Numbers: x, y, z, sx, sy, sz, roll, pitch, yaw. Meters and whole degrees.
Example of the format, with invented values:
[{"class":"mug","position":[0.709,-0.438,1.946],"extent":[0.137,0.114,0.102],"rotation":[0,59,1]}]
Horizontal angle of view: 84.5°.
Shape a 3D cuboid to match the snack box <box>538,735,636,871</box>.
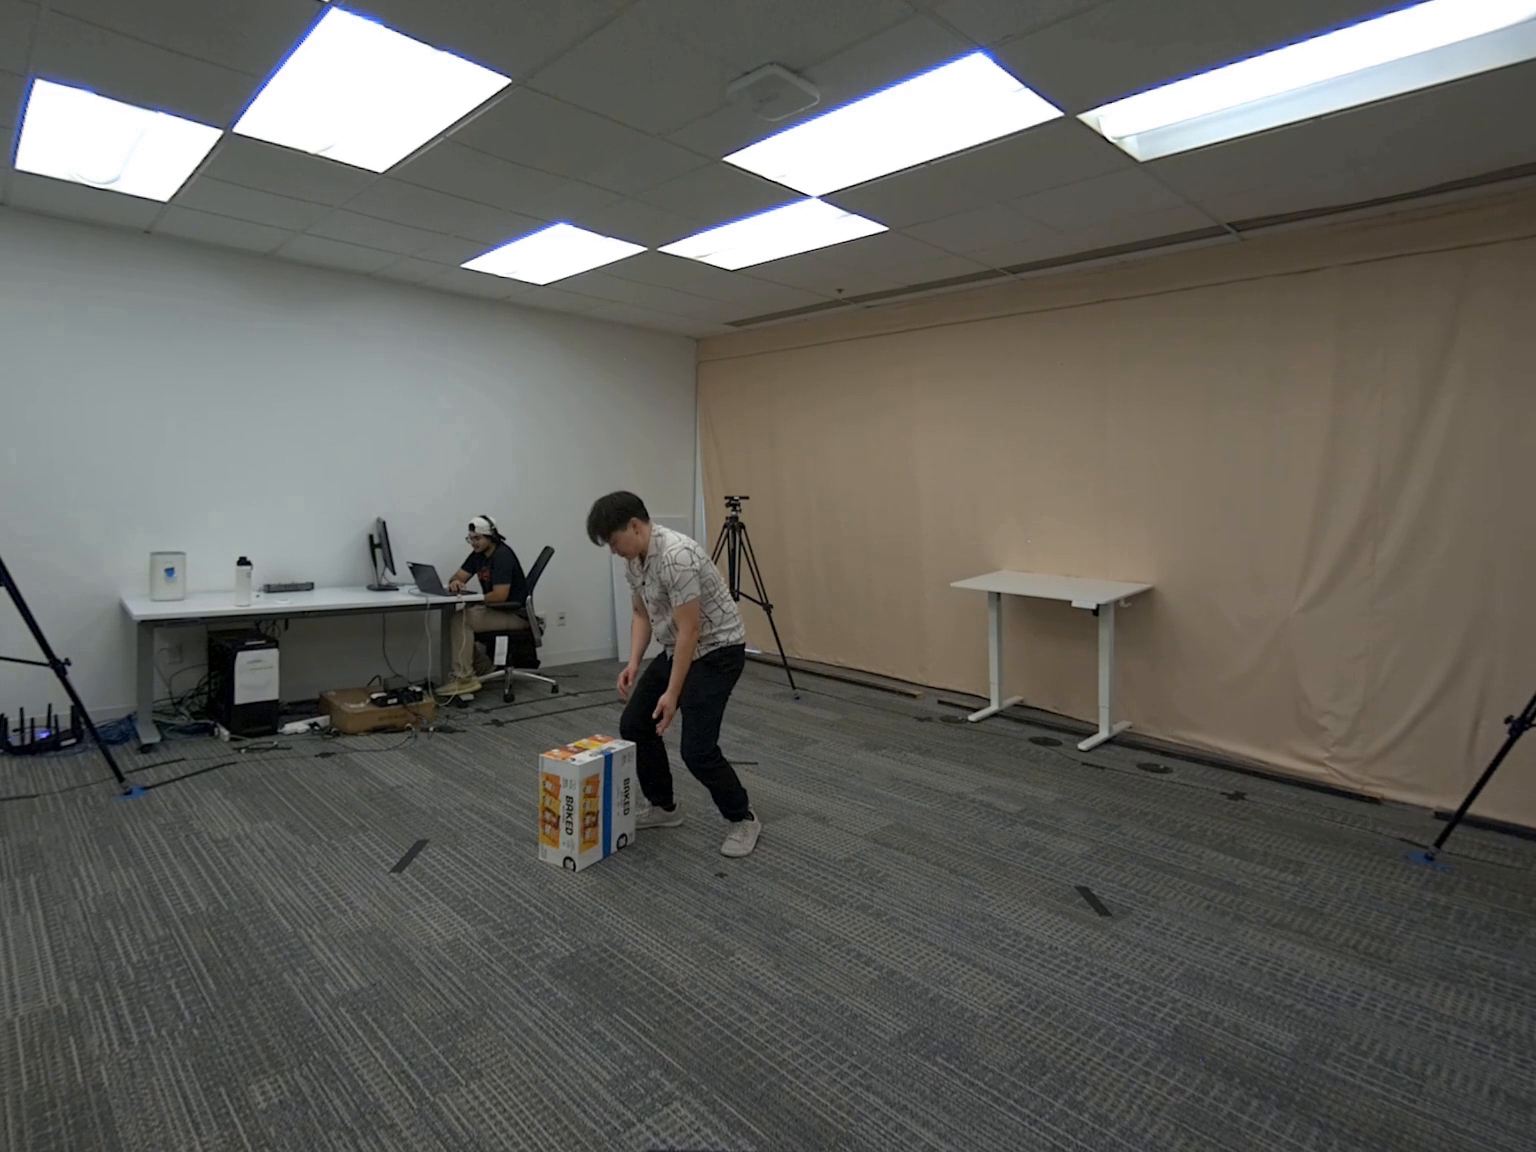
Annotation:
[{"class":"snack box","position":[-0.709,0.872,3.275],"extent":[0.210,0.404,0.334],"rotation":[4,4,29]}]
